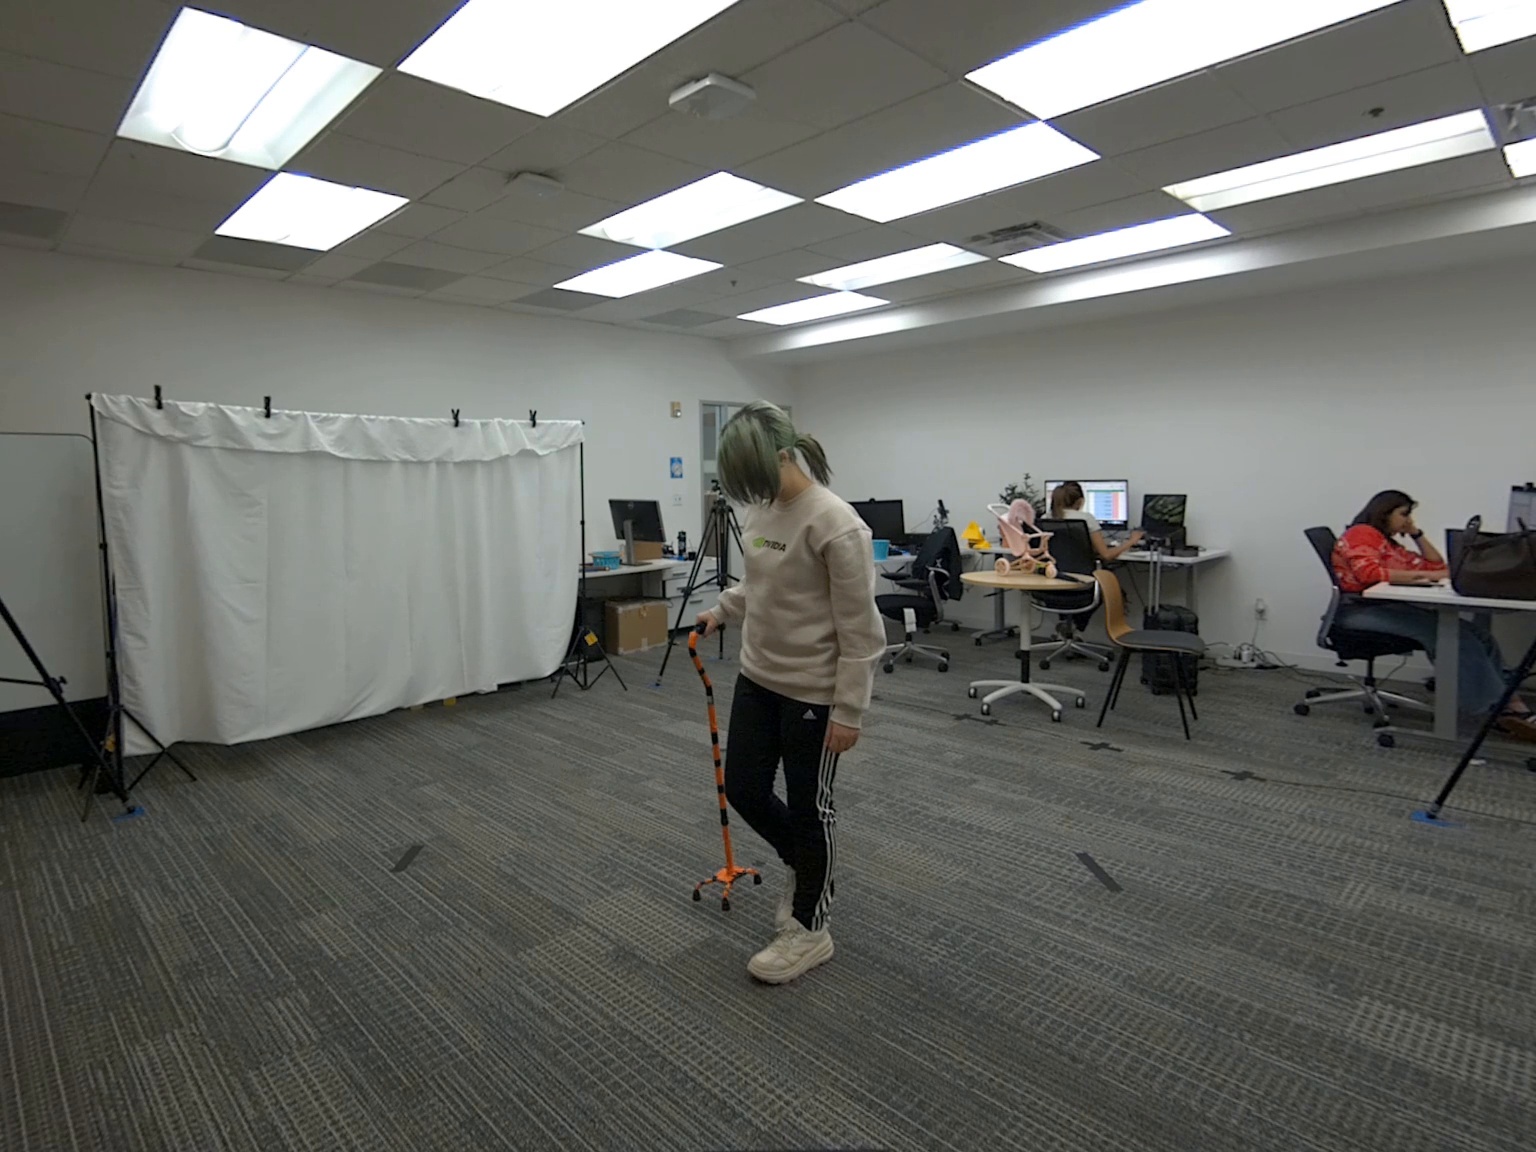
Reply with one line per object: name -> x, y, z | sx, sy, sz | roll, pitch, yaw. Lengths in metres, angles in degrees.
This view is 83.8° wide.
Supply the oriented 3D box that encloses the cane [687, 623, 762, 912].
cane -> -0.184, 0.602, 2.780 | 0.155, 0.901, 0.203 | -2, 8, 30
